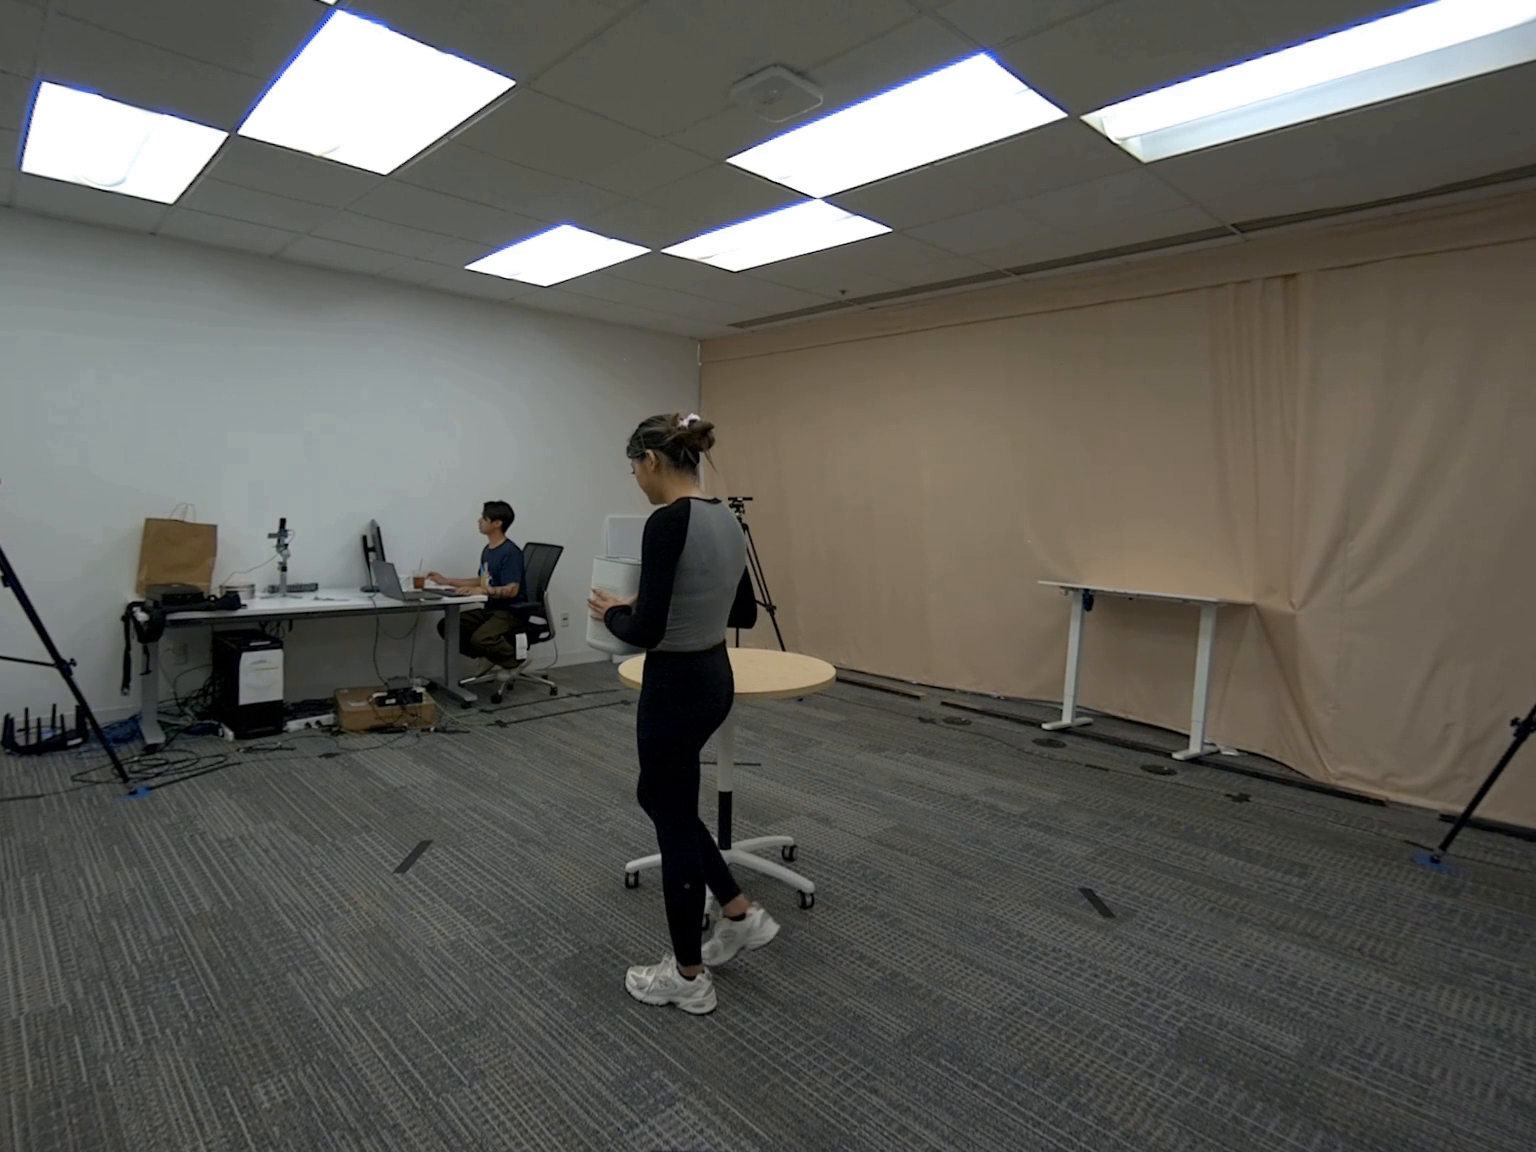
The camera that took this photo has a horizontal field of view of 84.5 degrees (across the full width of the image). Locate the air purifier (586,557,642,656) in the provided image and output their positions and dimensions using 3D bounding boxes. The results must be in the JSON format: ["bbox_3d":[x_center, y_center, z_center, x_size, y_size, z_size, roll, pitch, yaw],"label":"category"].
[{"bbox_3d":[-0.413,0.085,2.407,0.175,0.264,0.169,8,8,21],"label":"air purifier"}]
